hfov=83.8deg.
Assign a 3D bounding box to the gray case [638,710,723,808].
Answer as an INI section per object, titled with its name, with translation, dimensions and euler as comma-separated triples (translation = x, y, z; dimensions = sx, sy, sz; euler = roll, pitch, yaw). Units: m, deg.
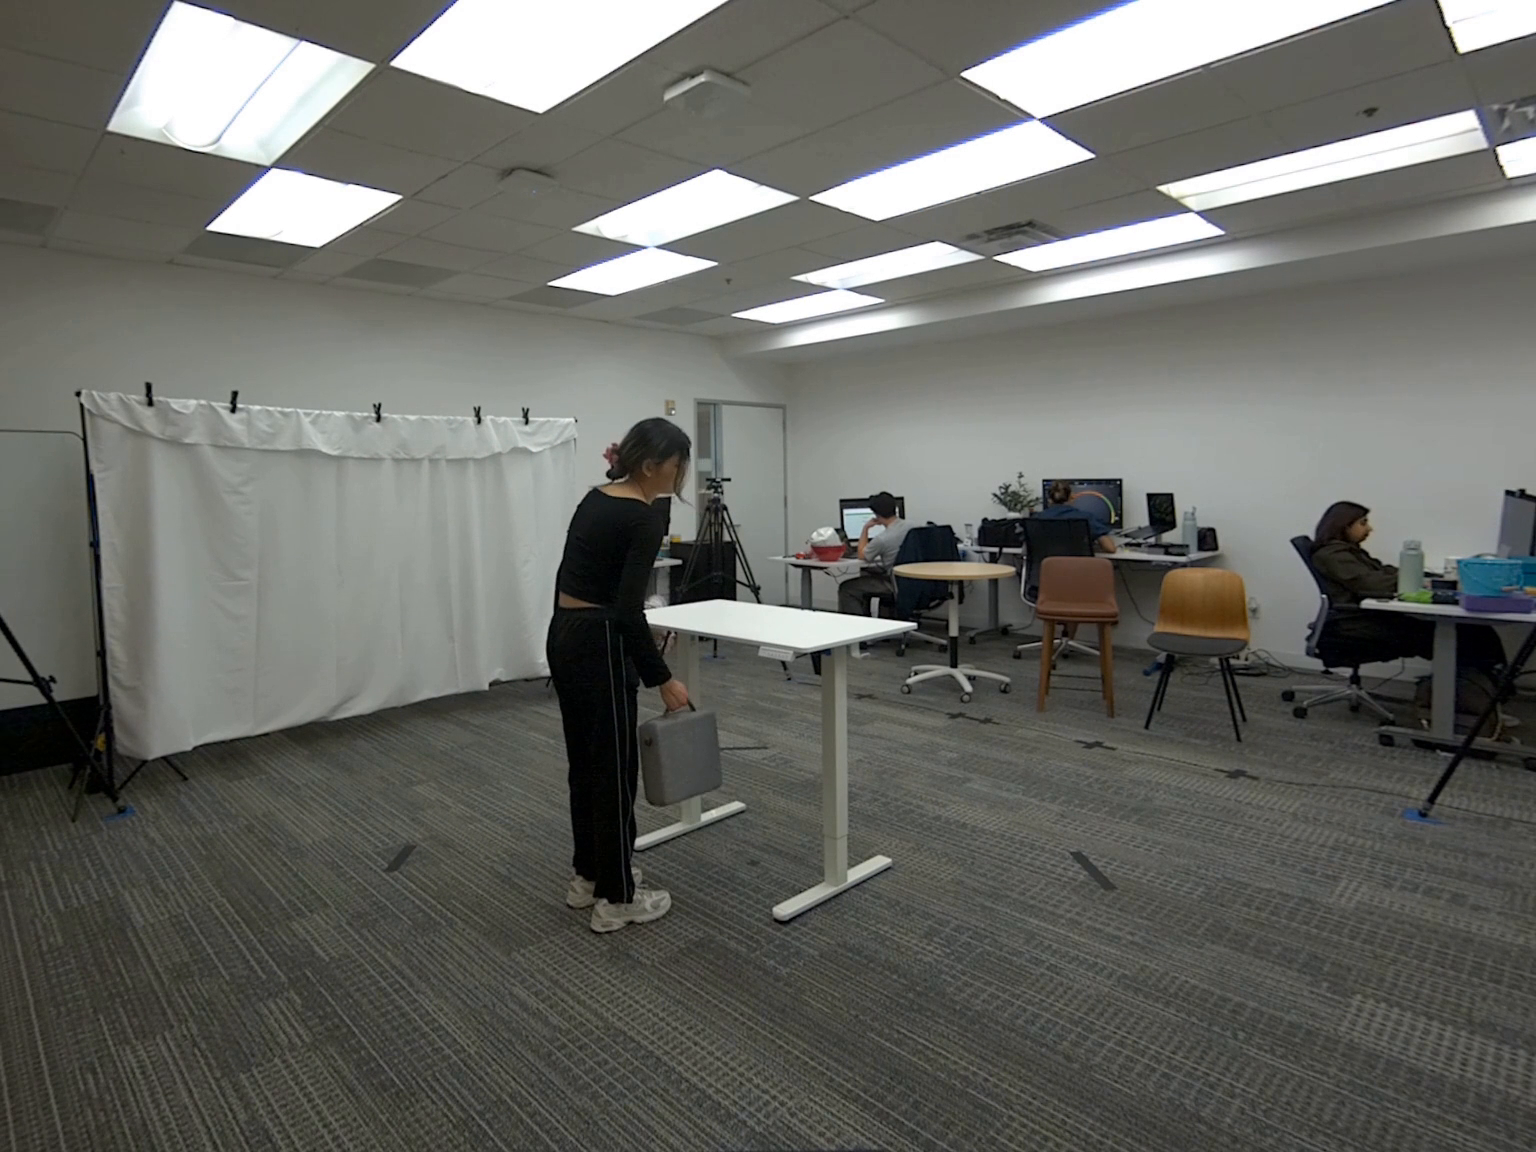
[gray case]
translation = -0.266, 0.542, 2.617
dimensions = 0.250, 0.260, 0.107
euler = -6, 2, -41
